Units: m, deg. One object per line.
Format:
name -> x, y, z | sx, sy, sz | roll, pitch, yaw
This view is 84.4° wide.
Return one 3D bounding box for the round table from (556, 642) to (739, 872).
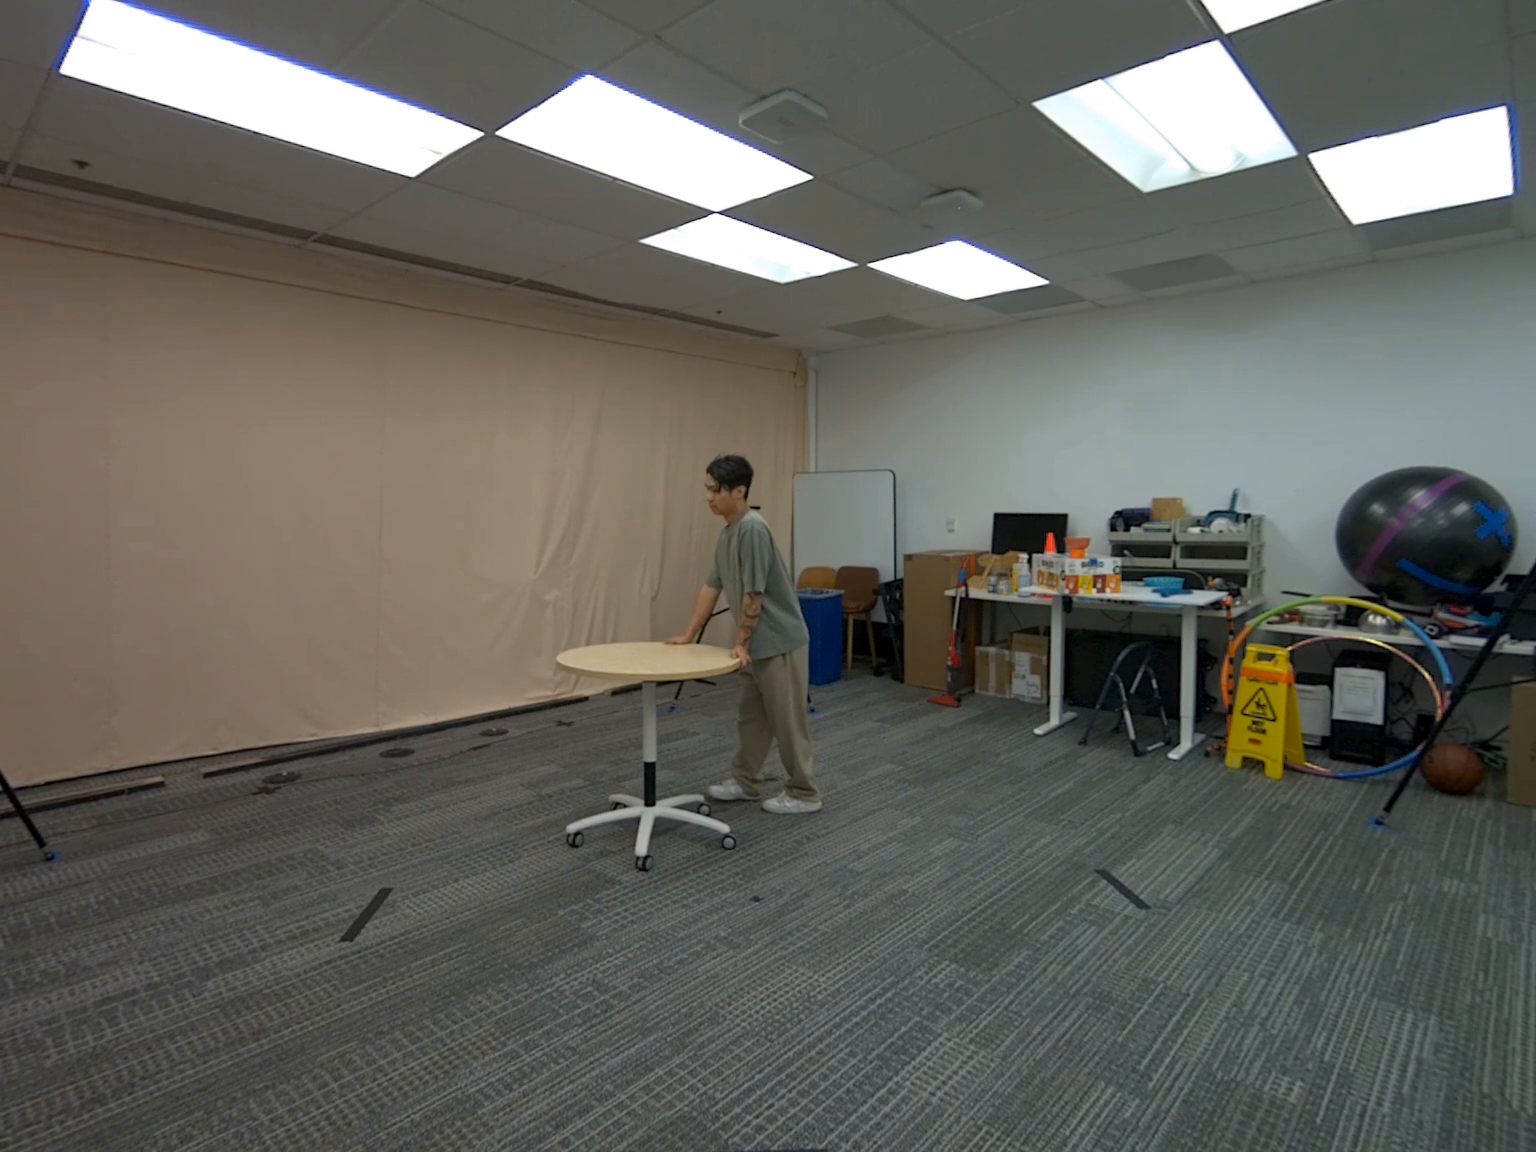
round table -> -0.504, 0.717, 3.520 | 0.784, 0.785, 0.787 | 0, 3, -2
